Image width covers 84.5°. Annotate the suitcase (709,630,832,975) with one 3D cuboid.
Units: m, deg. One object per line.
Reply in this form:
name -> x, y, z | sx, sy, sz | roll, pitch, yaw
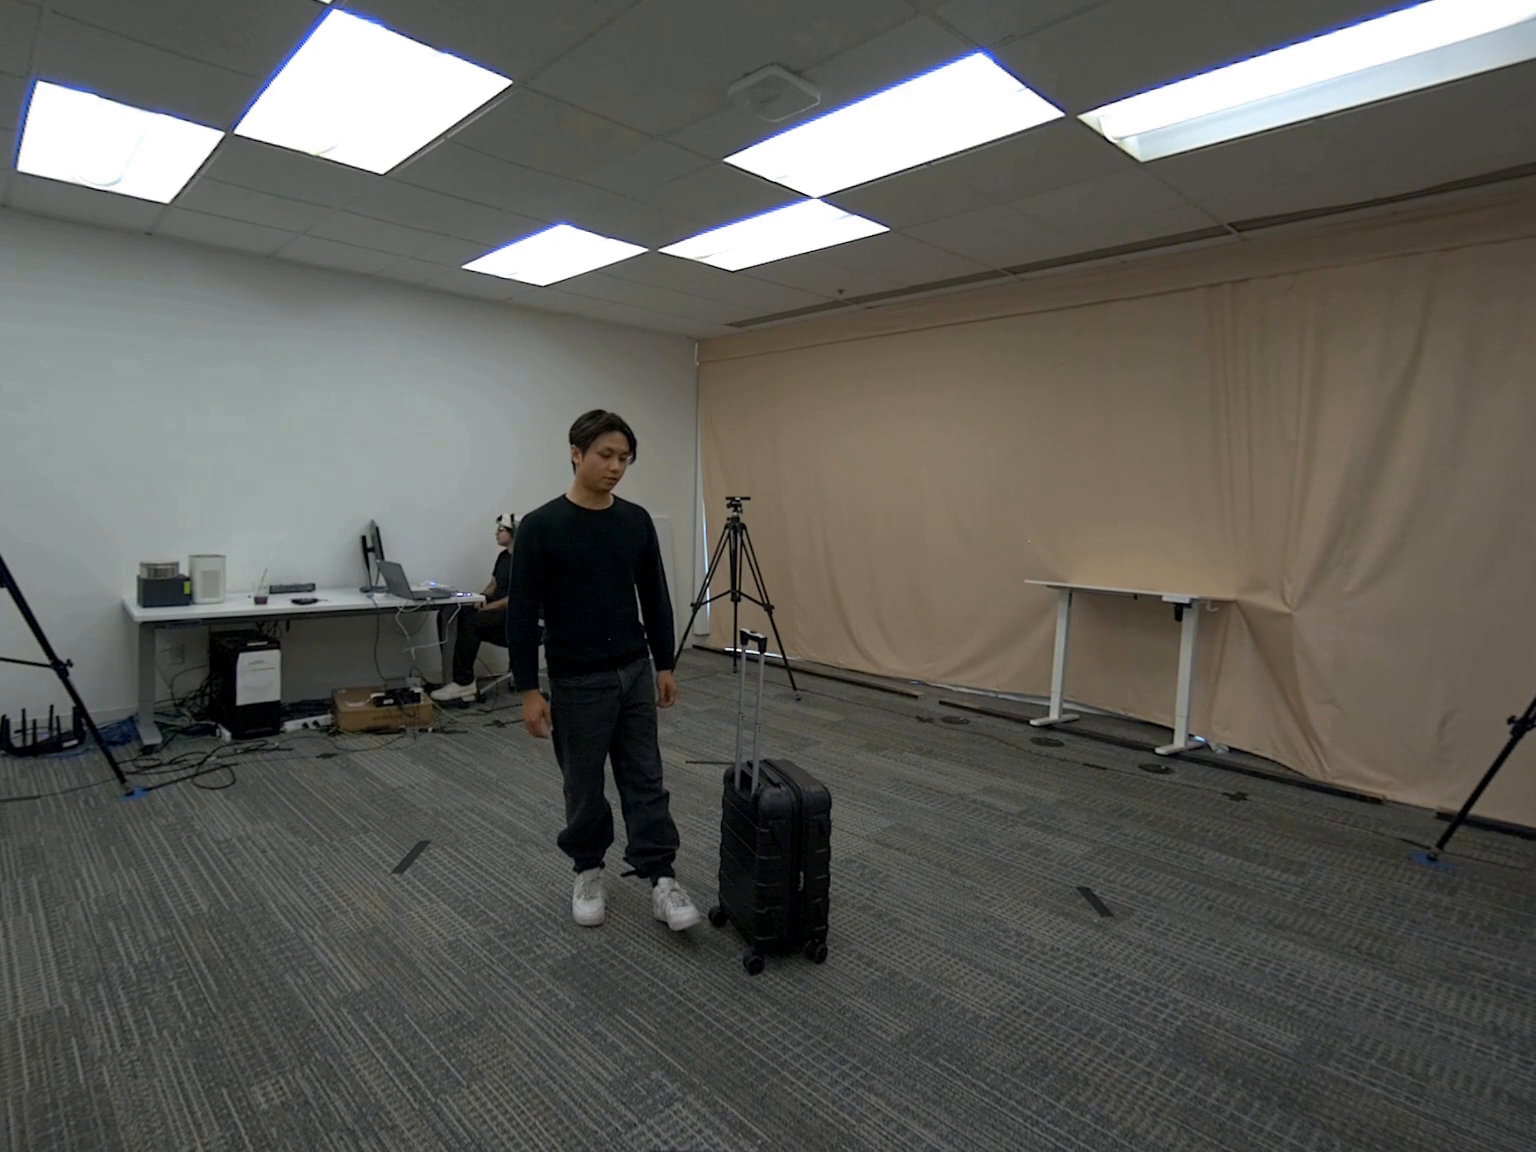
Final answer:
suitcase -> 0.028, 0.677, 2.631 | 0.253, 0.977, 0.391 | 3, 3, -20
